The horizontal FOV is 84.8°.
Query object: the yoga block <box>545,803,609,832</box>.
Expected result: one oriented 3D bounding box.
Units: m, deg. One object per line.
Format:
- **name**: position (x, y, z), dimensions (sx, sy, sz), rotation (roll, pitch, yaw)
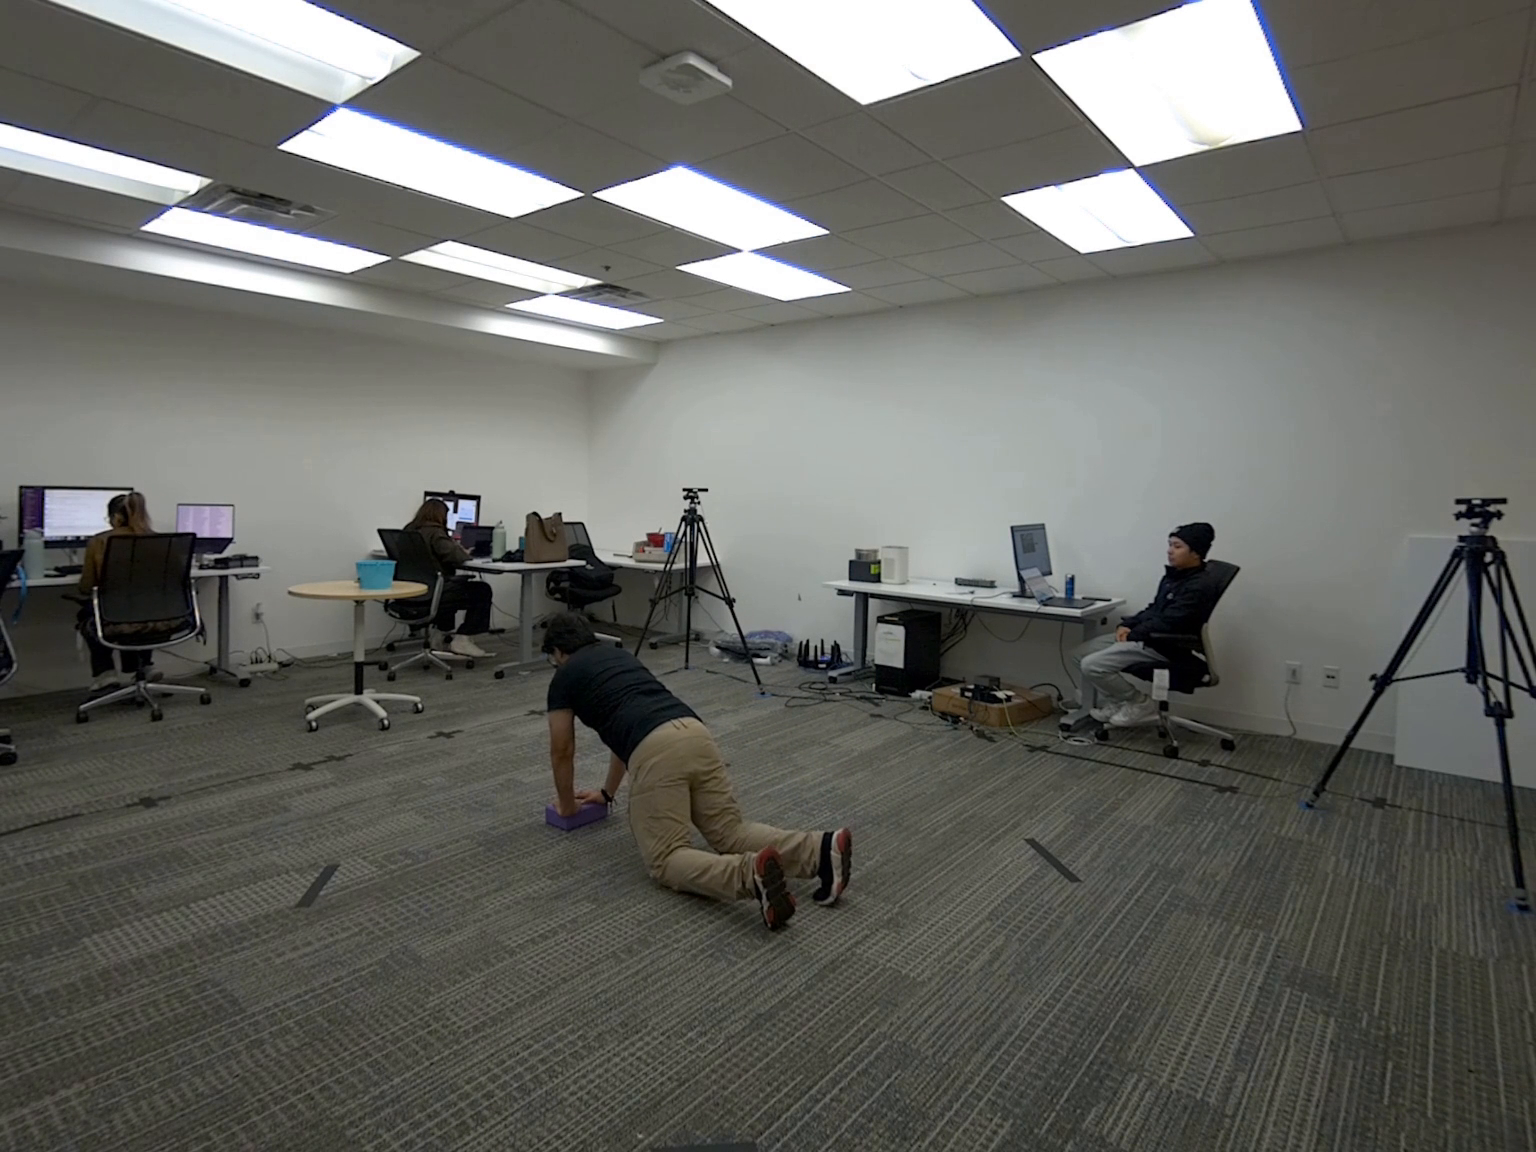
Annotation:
- **yoga block**: position (-0.813, 0.980, 3.561), dimensions (0.154, 0.076, 0.223), rotation (2, 5, 36)
